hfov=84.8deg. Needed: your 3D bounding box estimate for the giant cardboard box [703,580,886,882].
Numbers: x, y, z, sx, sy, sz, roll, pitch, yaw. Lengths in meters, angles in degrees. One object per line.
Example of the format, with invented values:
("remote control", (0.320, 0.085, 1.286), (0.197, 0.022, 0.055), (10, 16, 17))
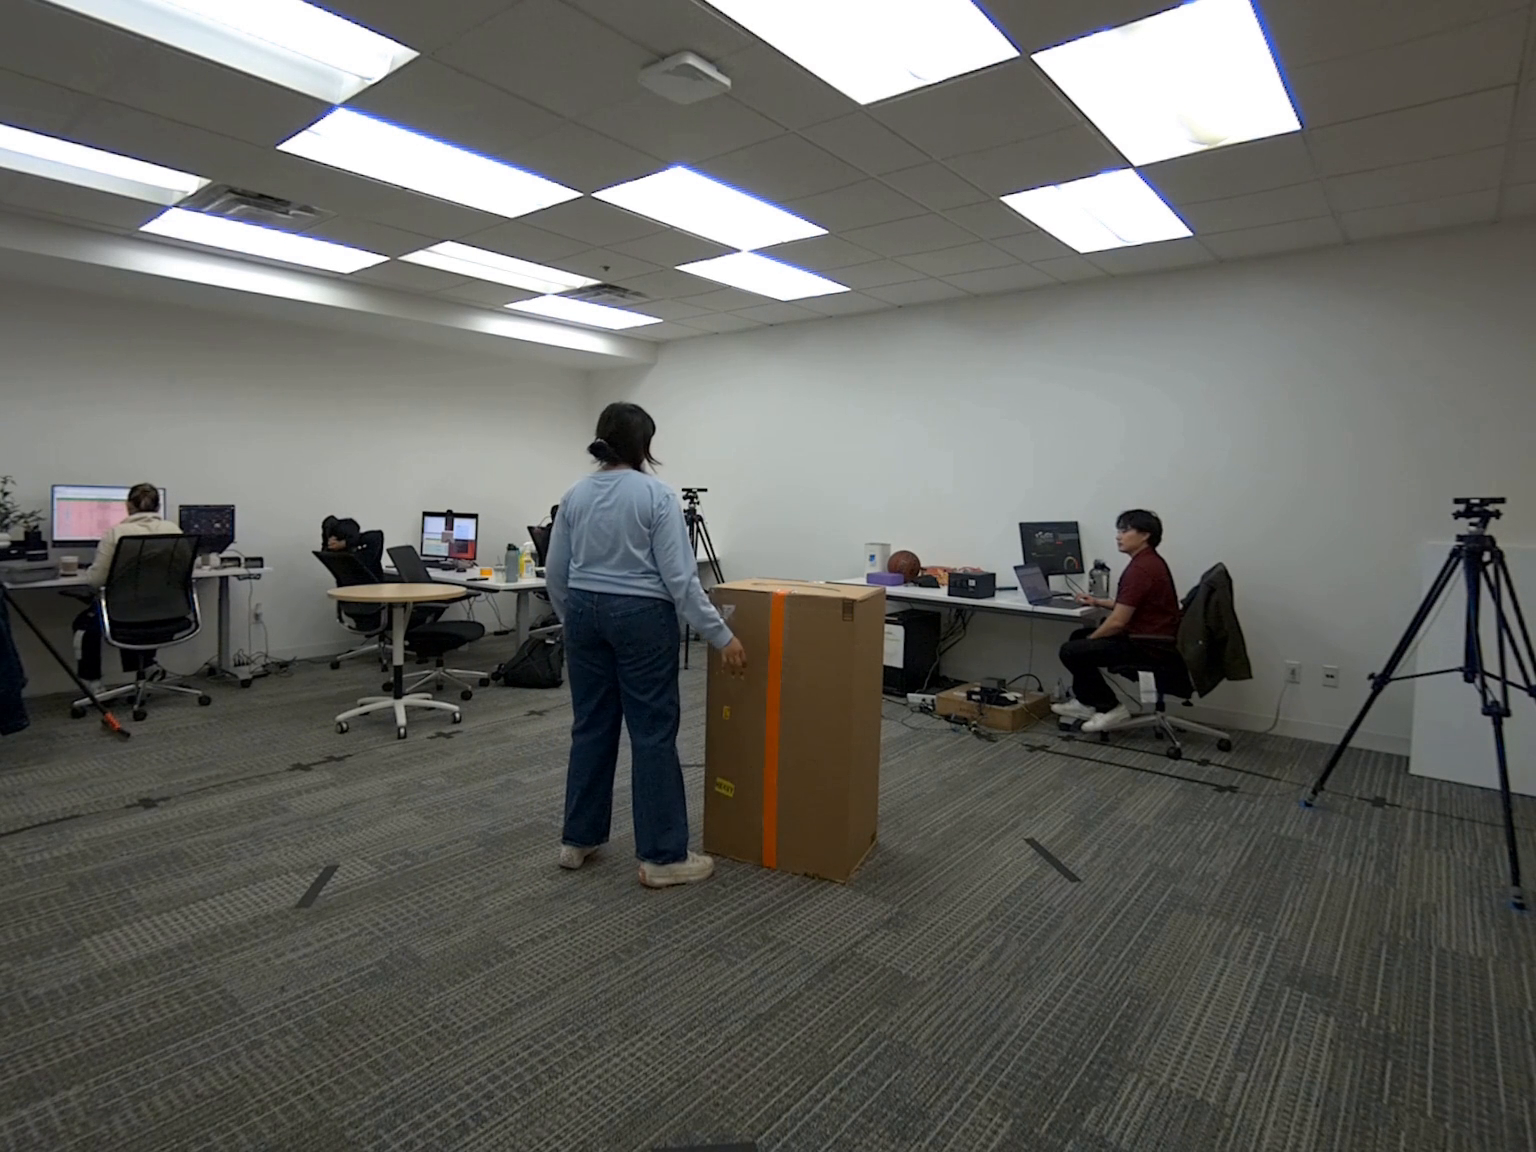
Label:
("giant cardboard box", (0.101, 0.551, 3.294), (0.599, 1.024, 0.437), (3, 3, 24))
